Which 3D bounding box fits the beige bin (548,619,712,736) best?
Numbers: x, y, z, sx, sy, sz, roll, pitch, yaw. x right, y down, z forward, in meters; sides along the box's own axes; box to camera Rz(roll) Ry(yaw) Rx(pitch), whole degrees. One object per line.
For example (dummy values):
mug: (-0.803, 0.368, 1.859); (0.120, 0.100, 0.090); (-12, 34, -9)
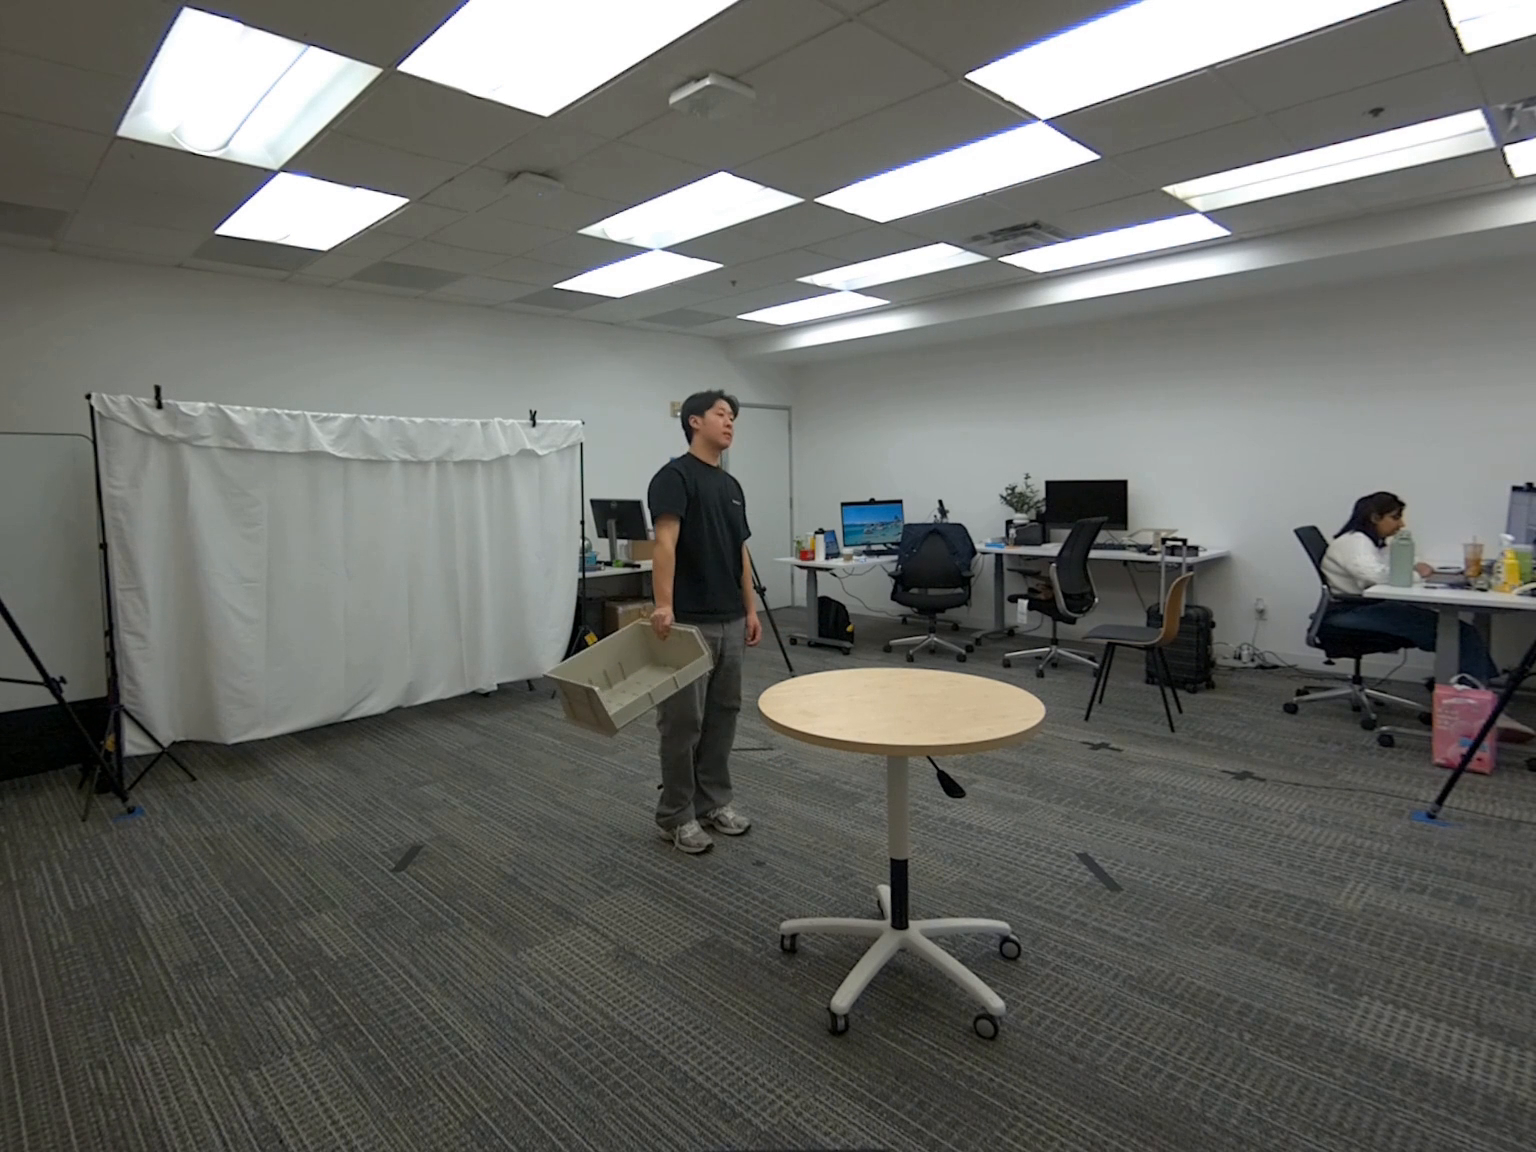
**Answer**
beige bin: (-0.459, 0.341, 2.820); (0.417, 0.186, 0.388); (-30, 18, -32)
